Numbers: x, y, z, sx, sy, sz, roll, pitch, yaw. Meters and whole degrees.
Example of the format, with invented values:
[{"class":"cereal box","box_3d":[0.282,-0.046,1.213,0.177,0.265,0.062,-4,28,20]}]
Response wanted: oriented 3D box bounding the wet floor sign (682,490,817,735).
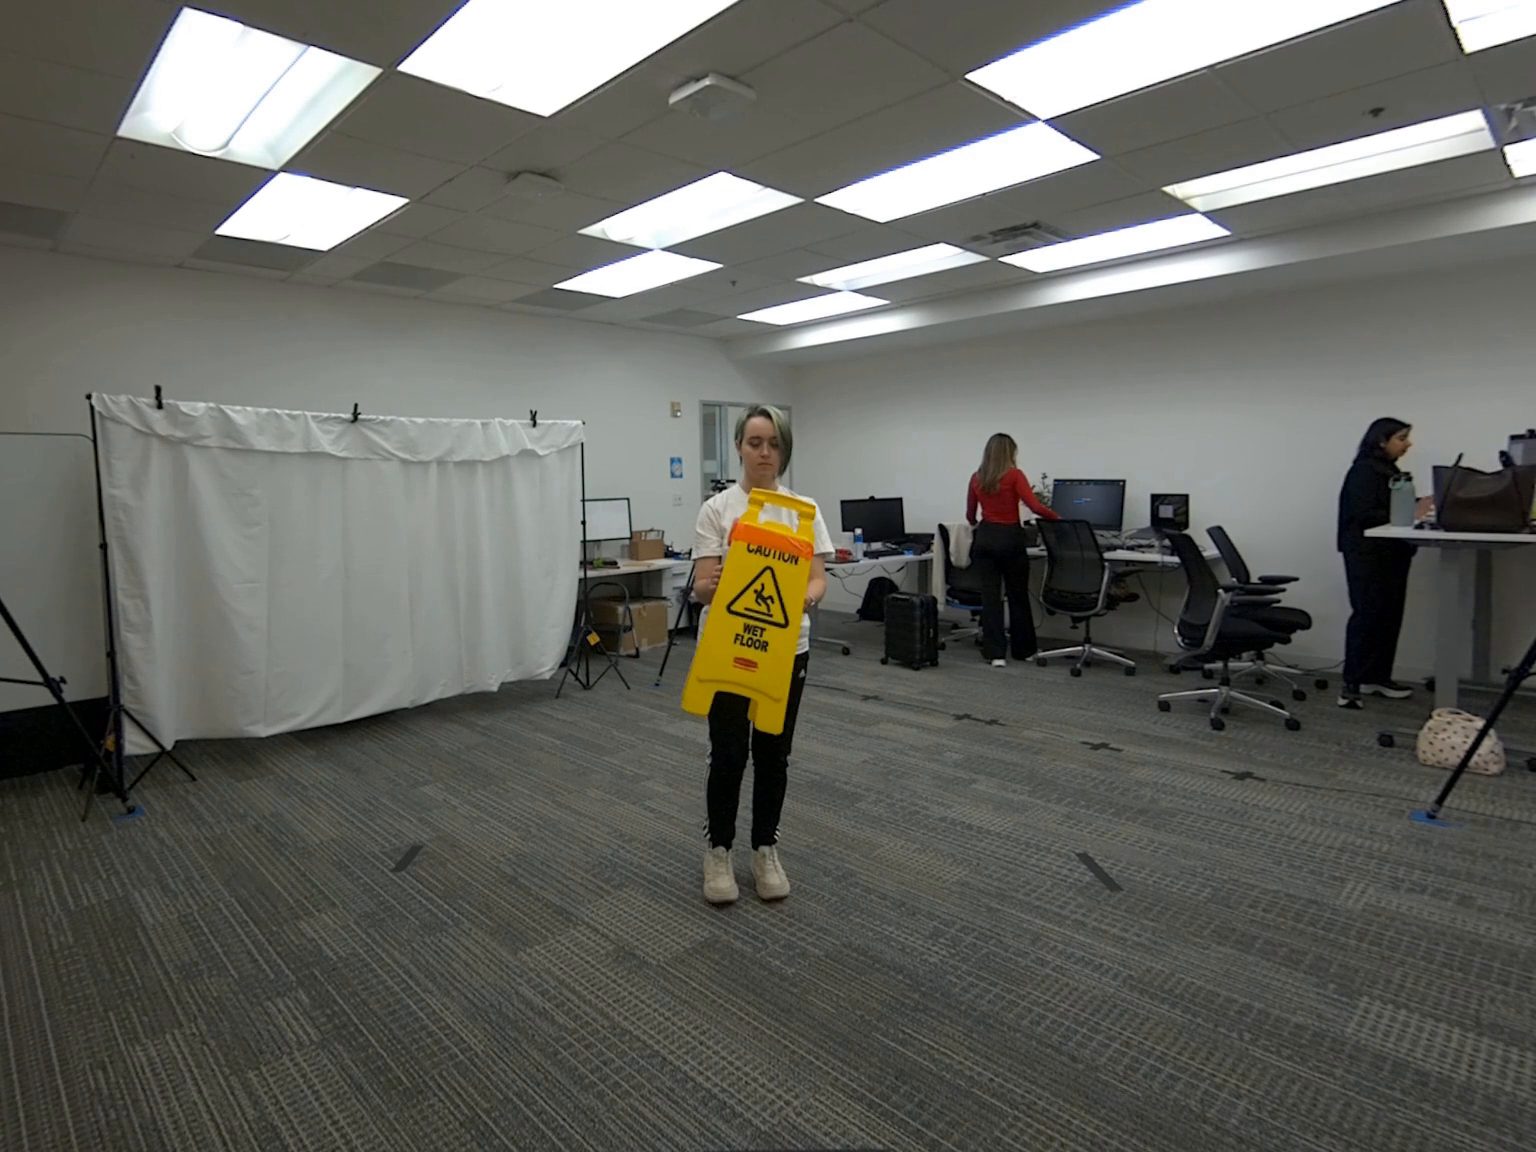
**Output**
[{"class":"wet floor sign","box_3d":[-0.034,0.087,2.419,0.281,0.648,0.290,13,-5,-4]}]
